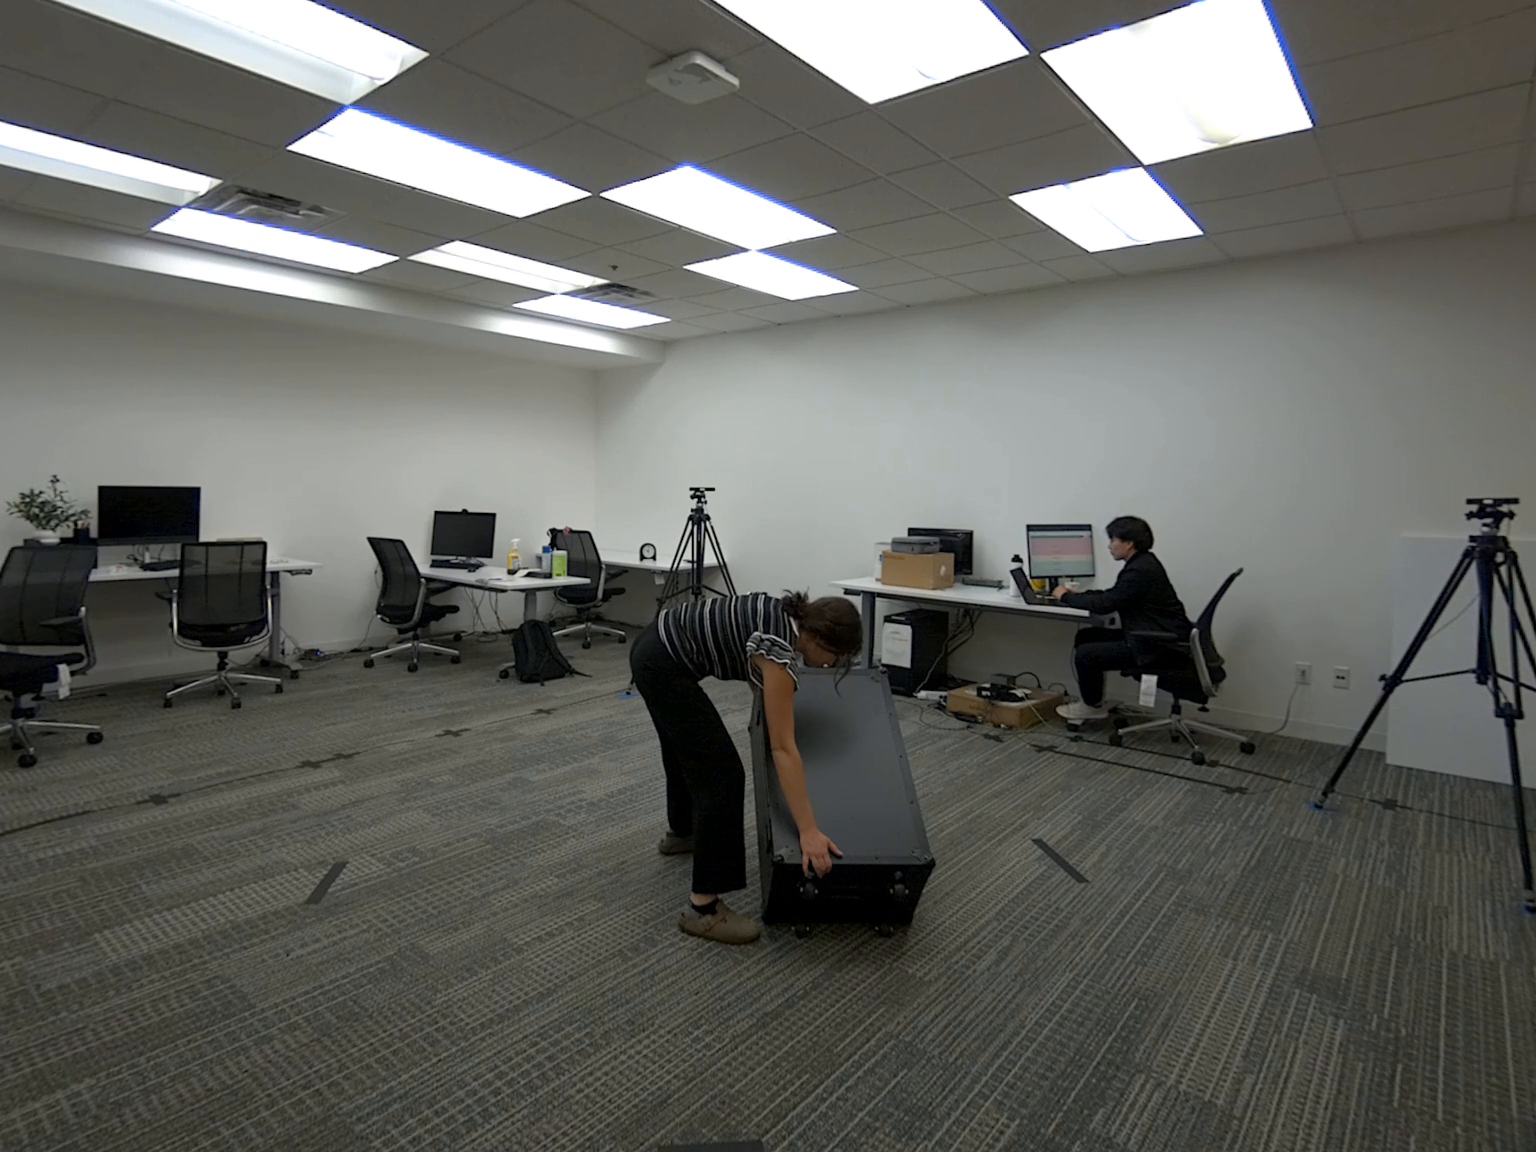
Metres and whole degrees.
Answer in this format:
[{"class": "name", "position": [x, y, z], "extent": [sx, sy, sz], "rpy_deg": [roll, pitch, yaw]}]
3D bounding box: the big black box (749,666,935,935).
[{"class": "big black box", "position": [0.213, 0.758, 2.916], "extent": [0.519, 0.386, 0.888], "rpy_deg": [1, 39, -5]}]
